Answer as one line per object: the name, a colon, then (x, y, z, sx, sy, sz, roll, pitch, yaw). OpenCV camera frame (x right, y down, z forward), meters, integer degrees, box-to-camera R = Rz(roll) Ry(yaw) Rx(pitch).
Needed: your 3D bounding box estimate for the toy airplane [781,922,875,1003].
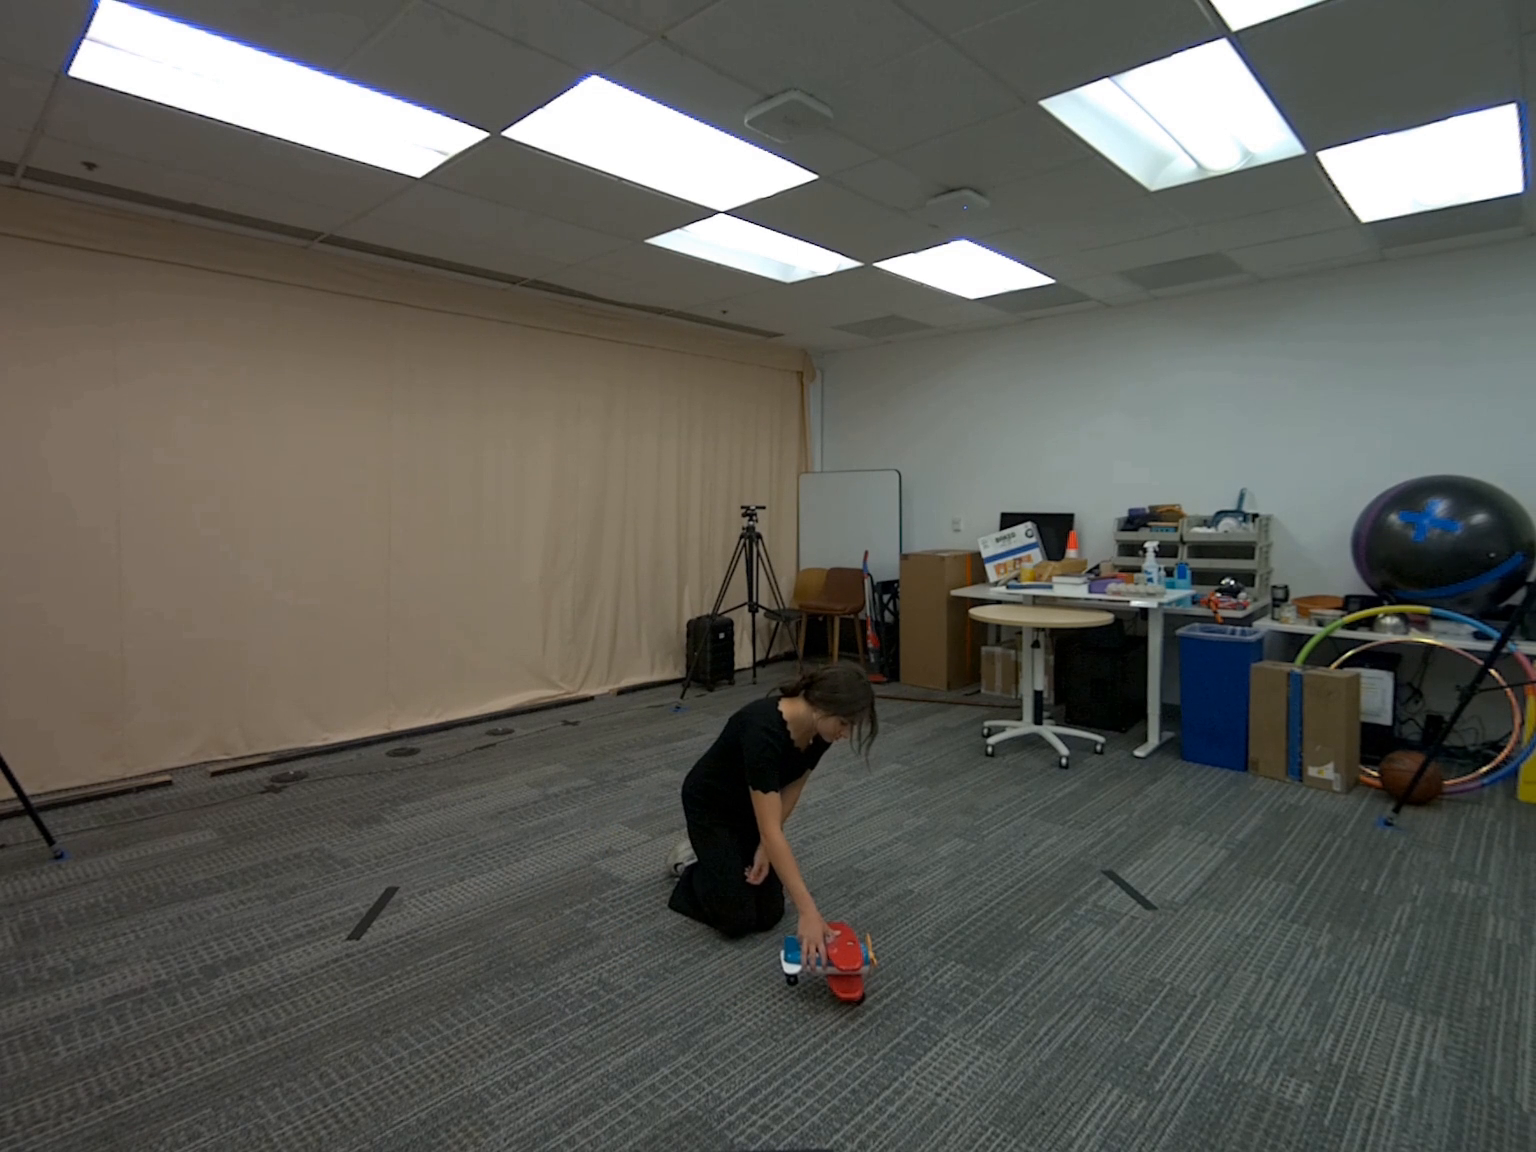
toy airplane: (0.179, 1.106, 2.366, 0.251, 0.156, 0.259, 11, 4, -31)
